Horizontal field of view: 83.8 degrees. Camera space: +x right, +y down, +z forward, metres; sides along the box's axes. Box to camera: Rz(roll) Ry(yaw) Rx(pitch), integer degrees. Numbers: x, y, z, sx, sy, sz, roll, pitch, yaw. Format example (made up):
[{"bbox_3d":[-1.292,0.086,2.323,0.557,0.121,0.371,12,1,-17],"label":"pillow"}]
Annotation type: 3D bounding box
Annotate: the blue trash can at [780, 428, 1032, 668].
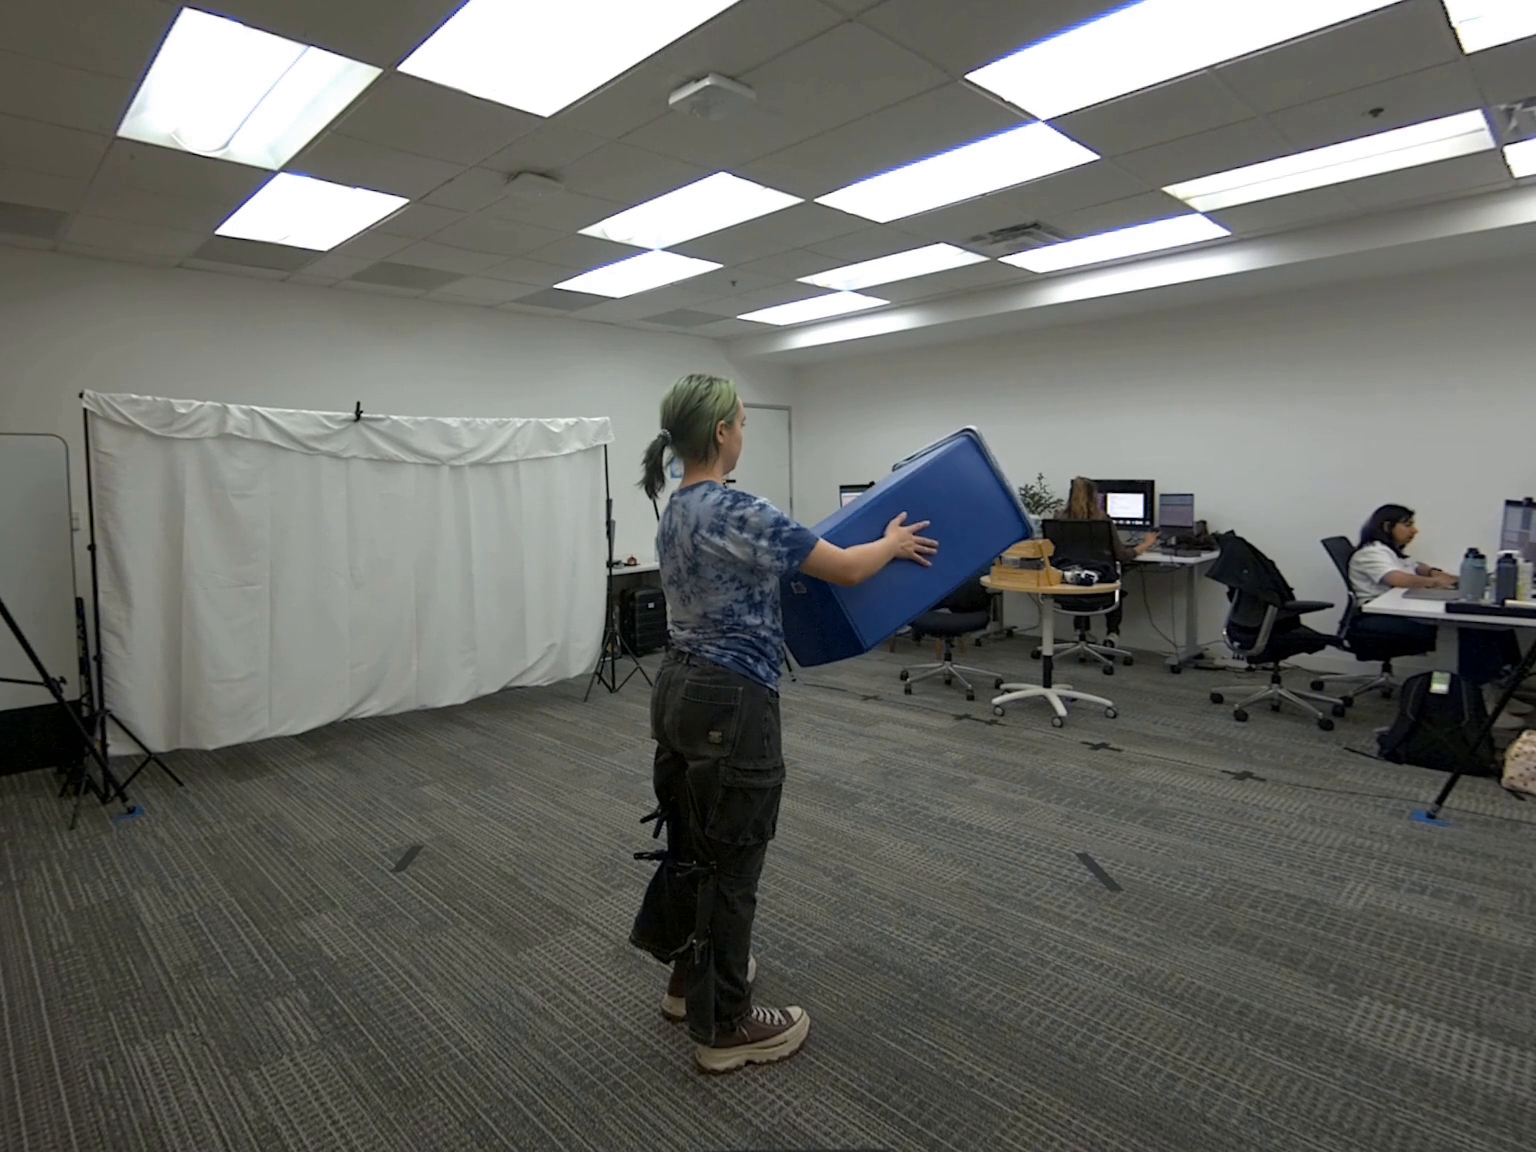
[{"bbox_3d":[0.347,-0.079,2.367,0.707,0.373,0.383,-33,4,-34],"label":"blue trash can"}]
